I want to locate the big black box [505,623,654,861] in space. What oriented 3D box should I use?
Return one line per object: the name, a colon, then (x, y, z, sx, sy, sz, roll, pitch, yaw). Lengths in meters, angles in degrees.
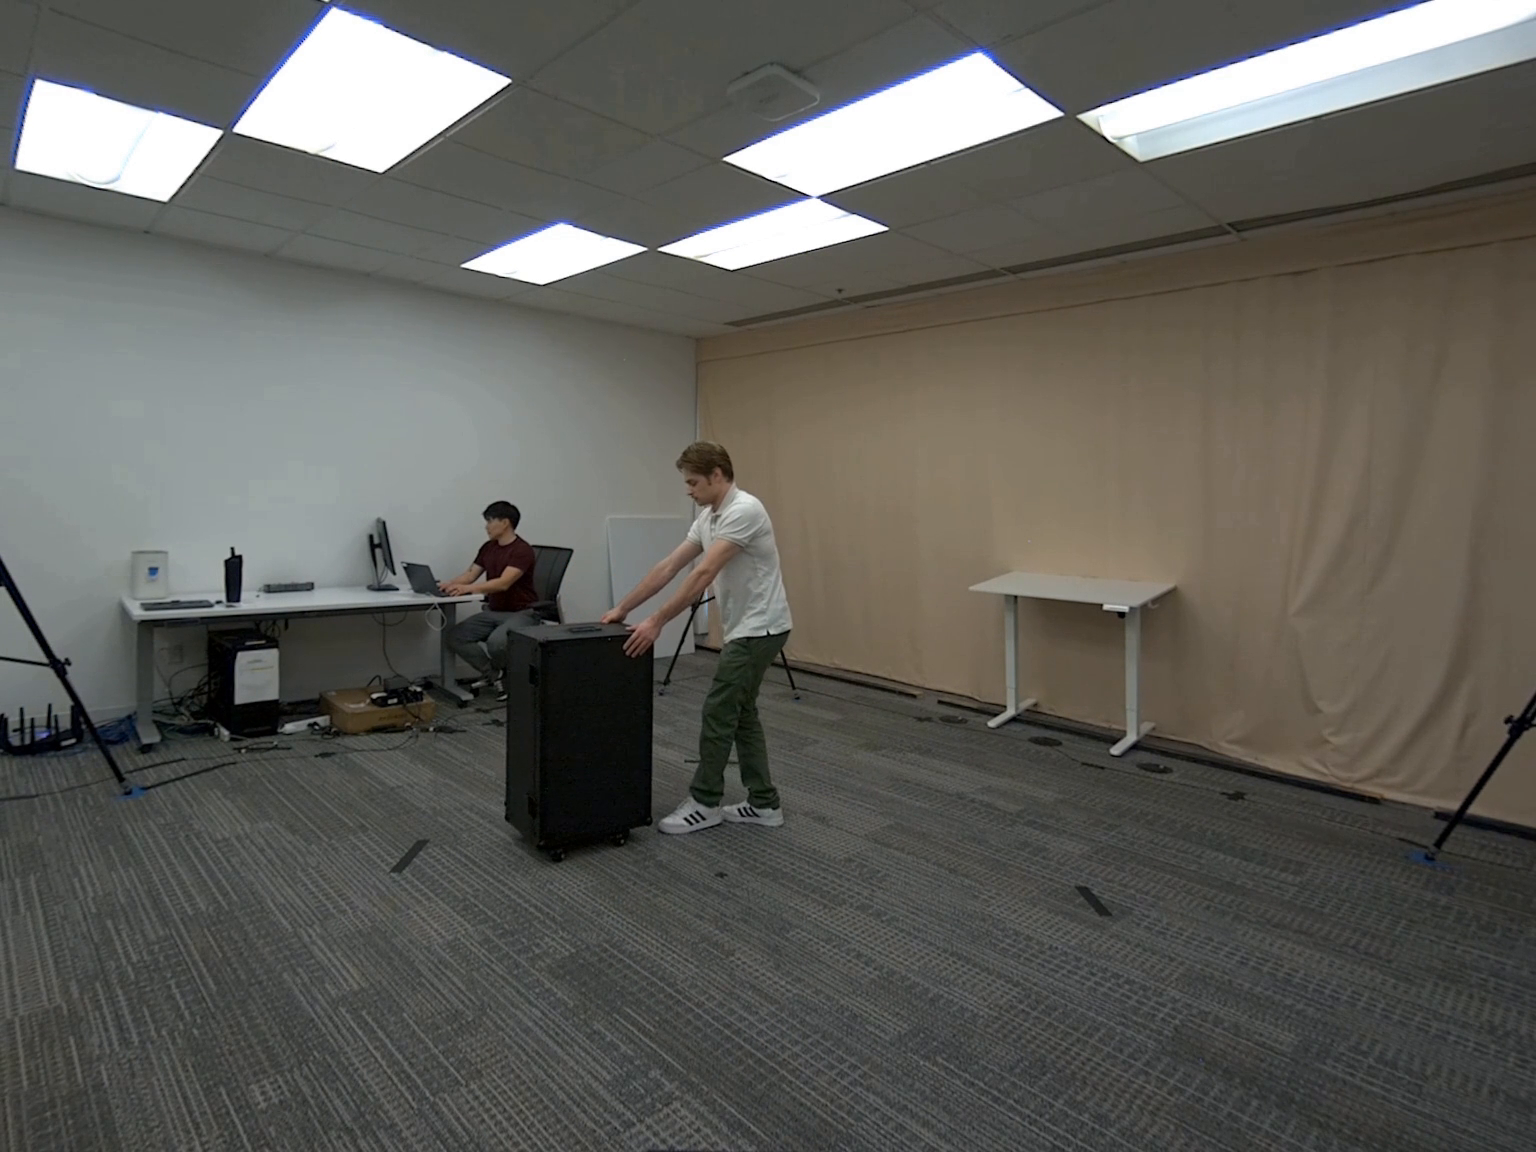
big black box: (-0.773, 0.644, 3.369, 0.512, 0.867, 0.395, -1, 3, -37)
